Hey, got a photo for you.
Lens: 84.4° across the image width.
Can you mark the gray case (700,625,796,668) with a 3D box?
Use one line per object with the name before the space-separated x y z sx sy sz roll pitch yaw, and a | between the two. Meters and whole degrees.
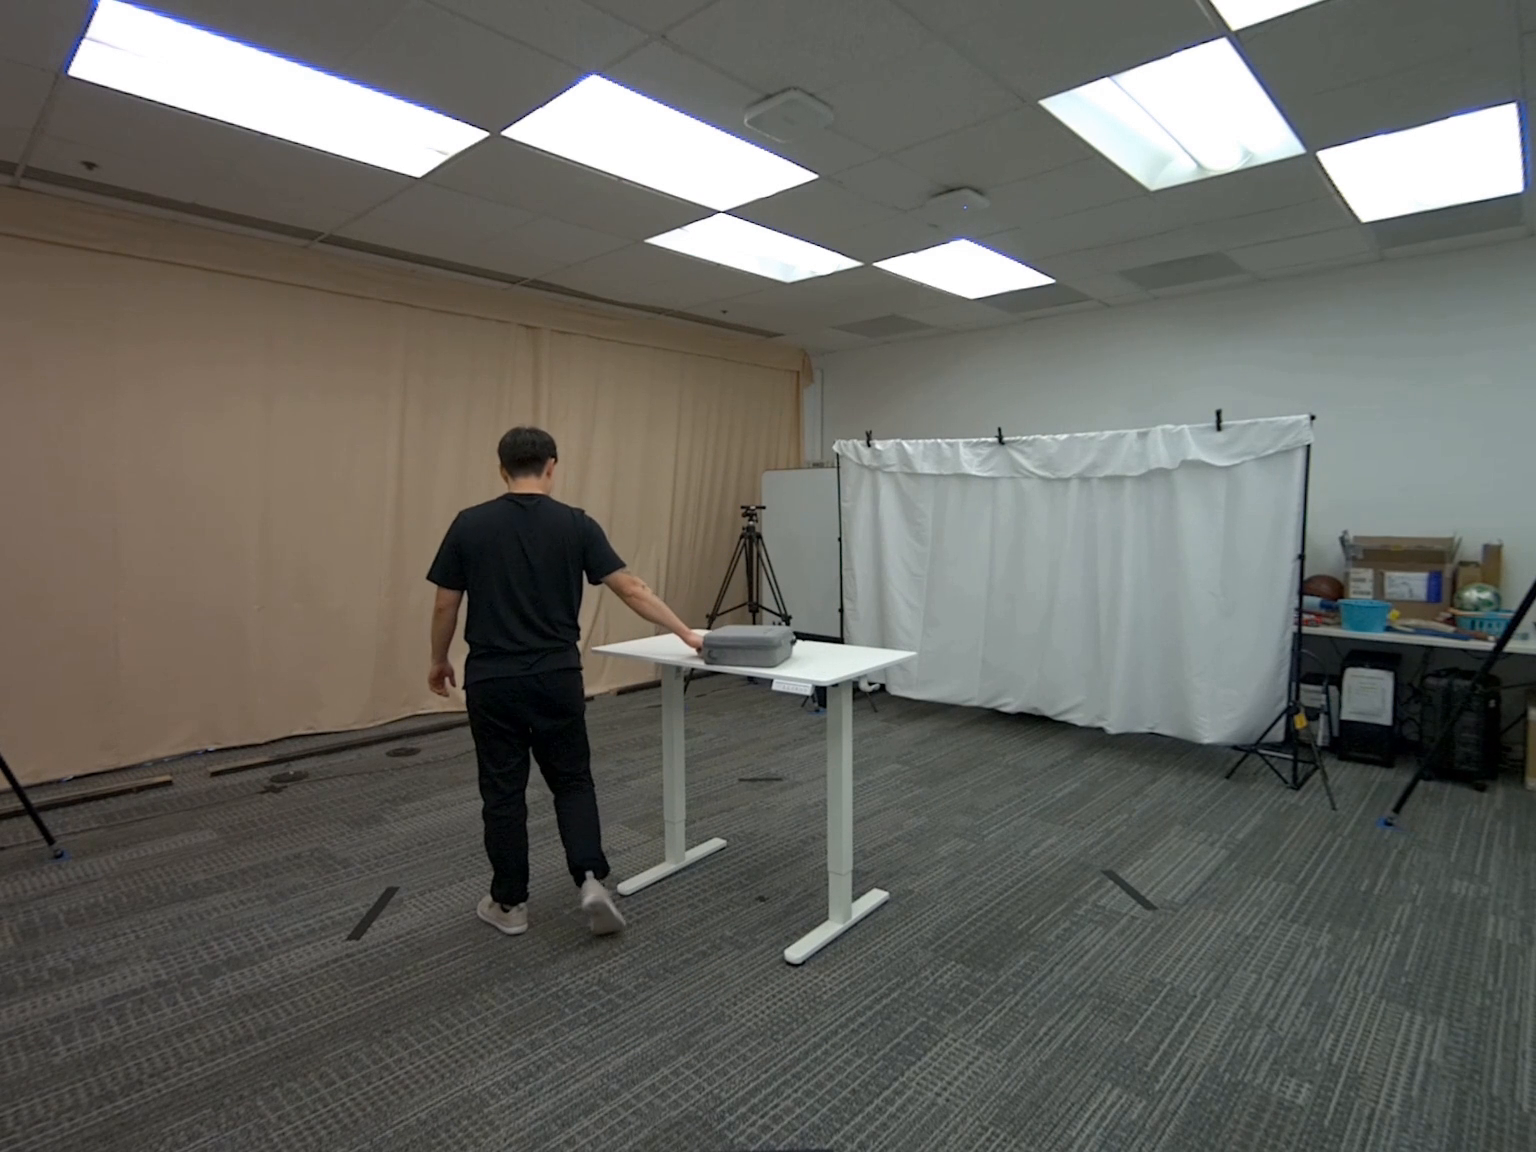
gray case | -0.054 0.228 2.754 0.266 0.104 0.253 -1 5 18
